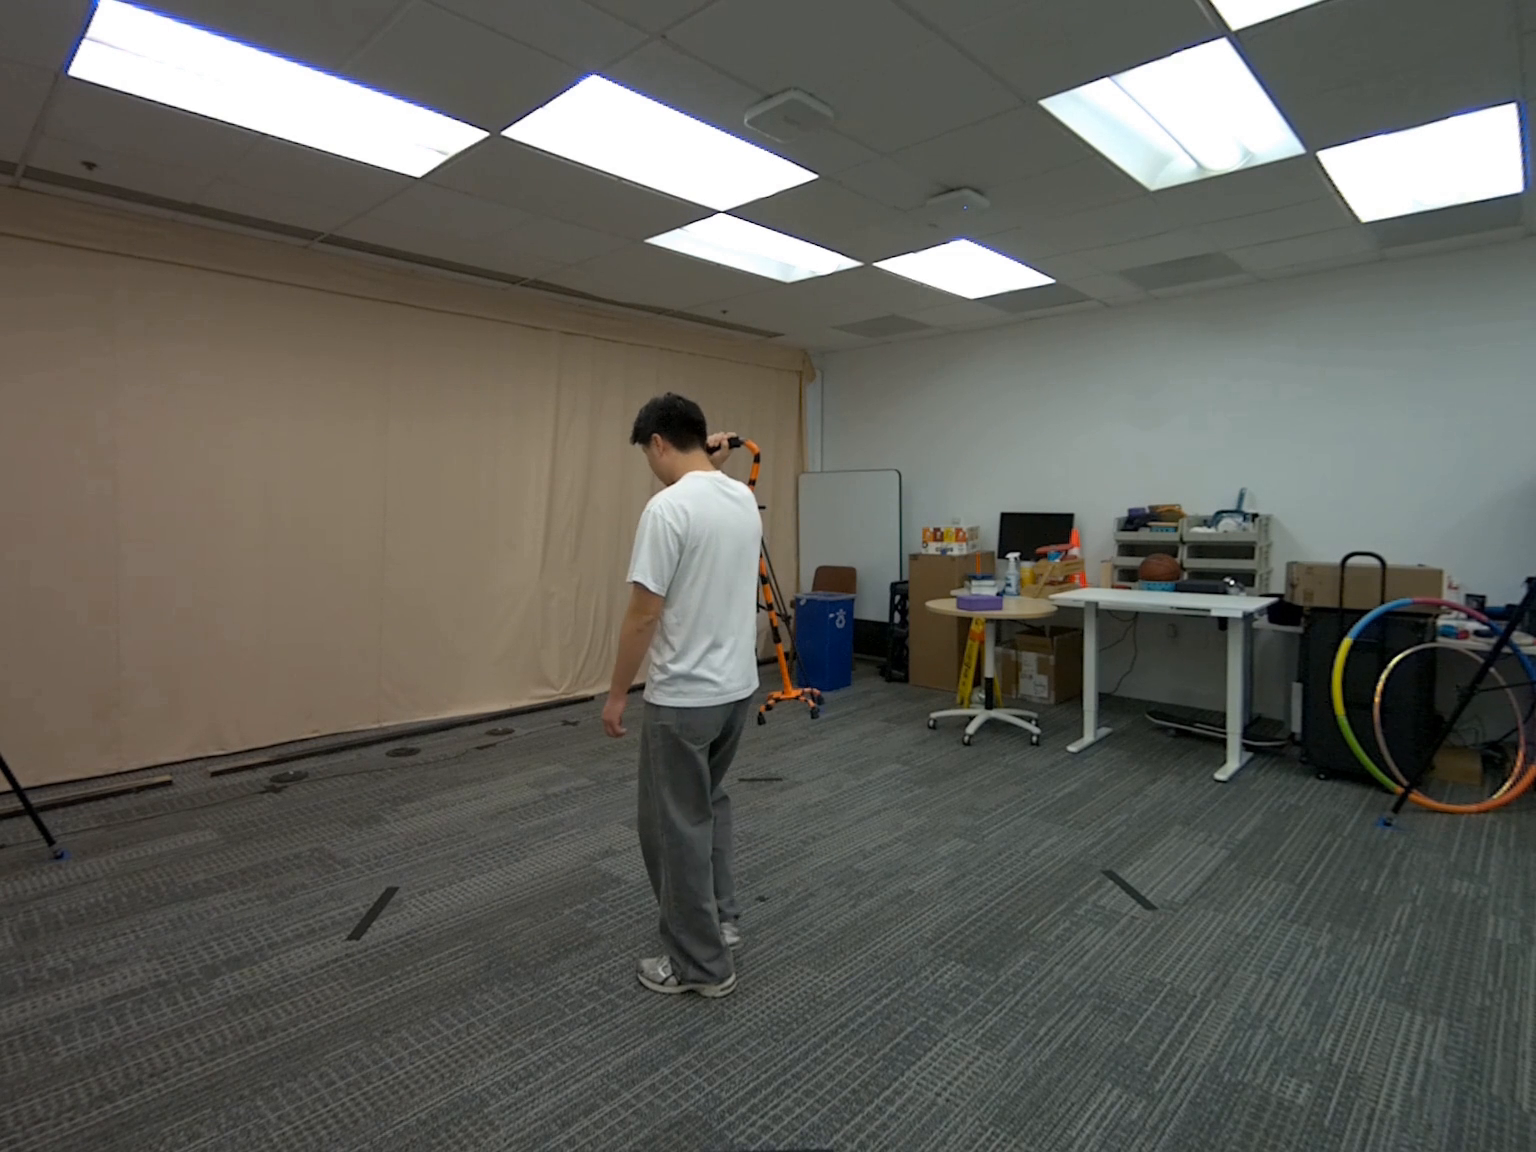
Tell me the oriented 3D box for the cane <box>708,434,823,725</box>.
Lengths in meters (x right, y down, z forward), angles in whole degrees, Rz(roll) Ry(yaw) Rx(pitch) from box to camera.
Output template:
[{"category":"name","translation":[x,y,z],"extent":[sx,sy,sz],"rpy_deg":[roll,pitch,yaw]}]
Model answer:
[{"category":"cane","translation":[0.000,0.014,2.680],"extent":[0.209,0.903,0.150],"rpy_deg":[-9,6,15]}]
